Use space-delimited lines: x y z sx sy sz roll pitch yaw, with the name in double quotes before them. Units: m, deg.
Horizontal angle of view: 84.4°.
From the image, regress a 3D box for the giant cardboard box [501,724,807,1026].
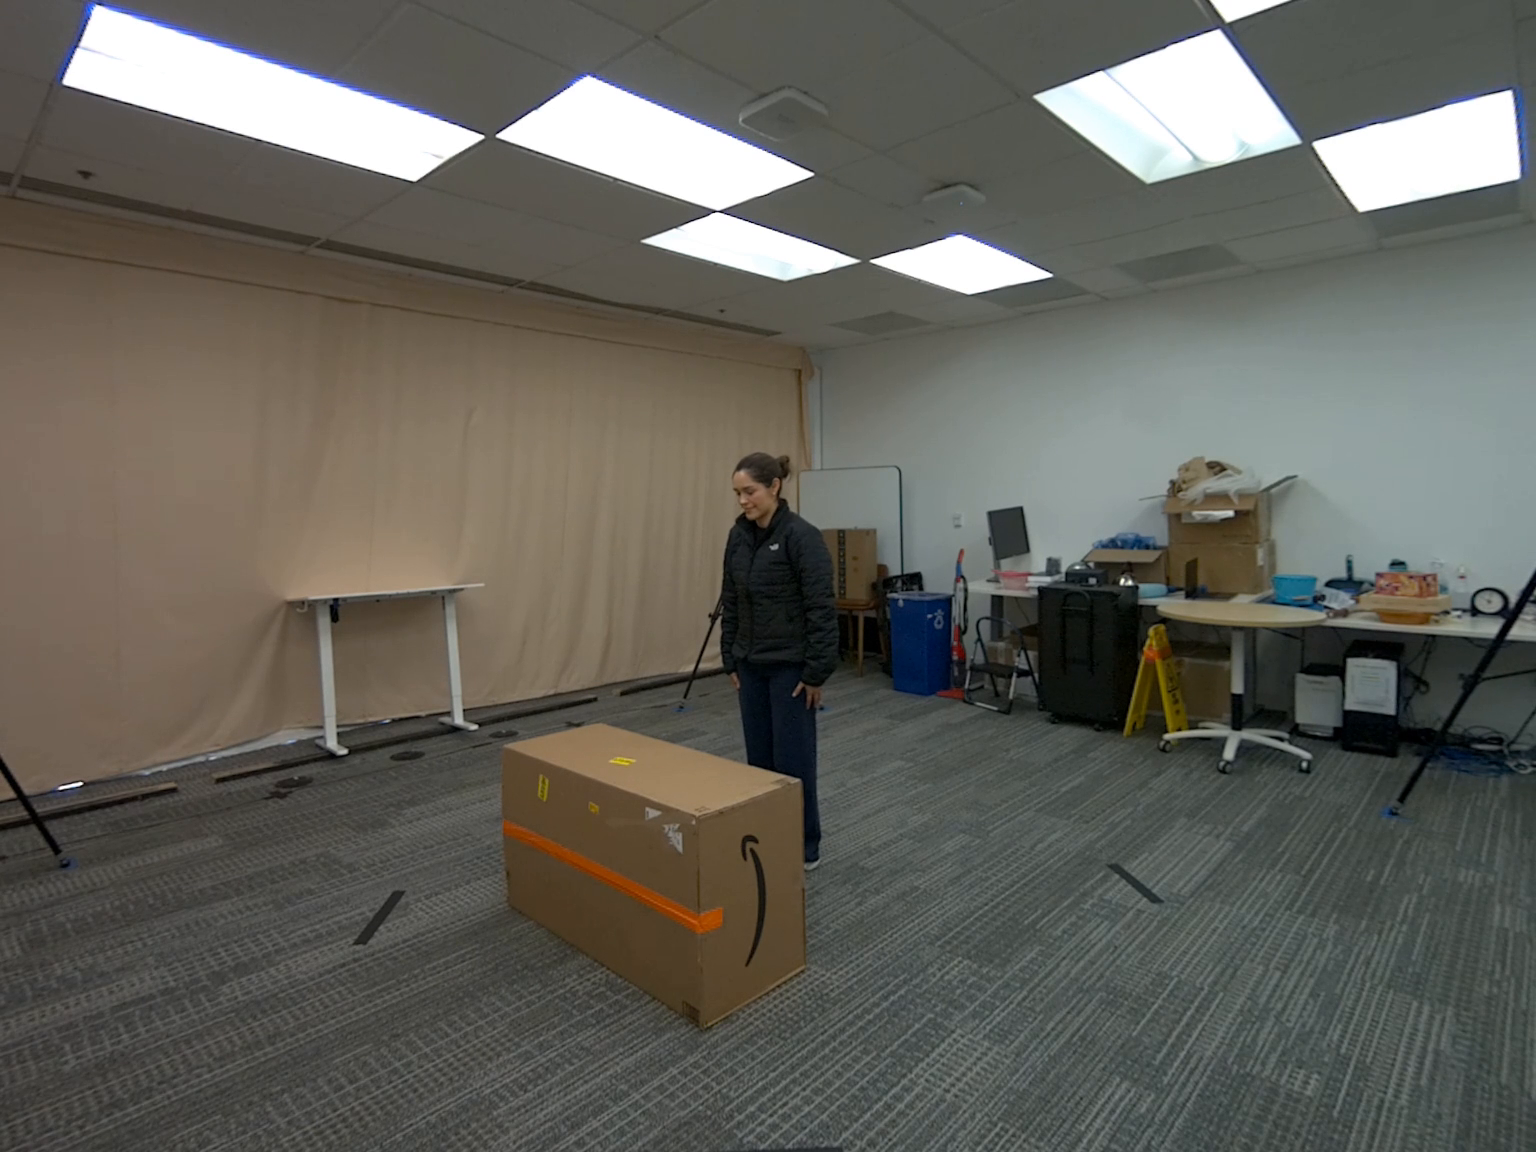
"giant cardboard box" -0.399 0.887 2.729 1.061 0.582 0.433 2 6 44
